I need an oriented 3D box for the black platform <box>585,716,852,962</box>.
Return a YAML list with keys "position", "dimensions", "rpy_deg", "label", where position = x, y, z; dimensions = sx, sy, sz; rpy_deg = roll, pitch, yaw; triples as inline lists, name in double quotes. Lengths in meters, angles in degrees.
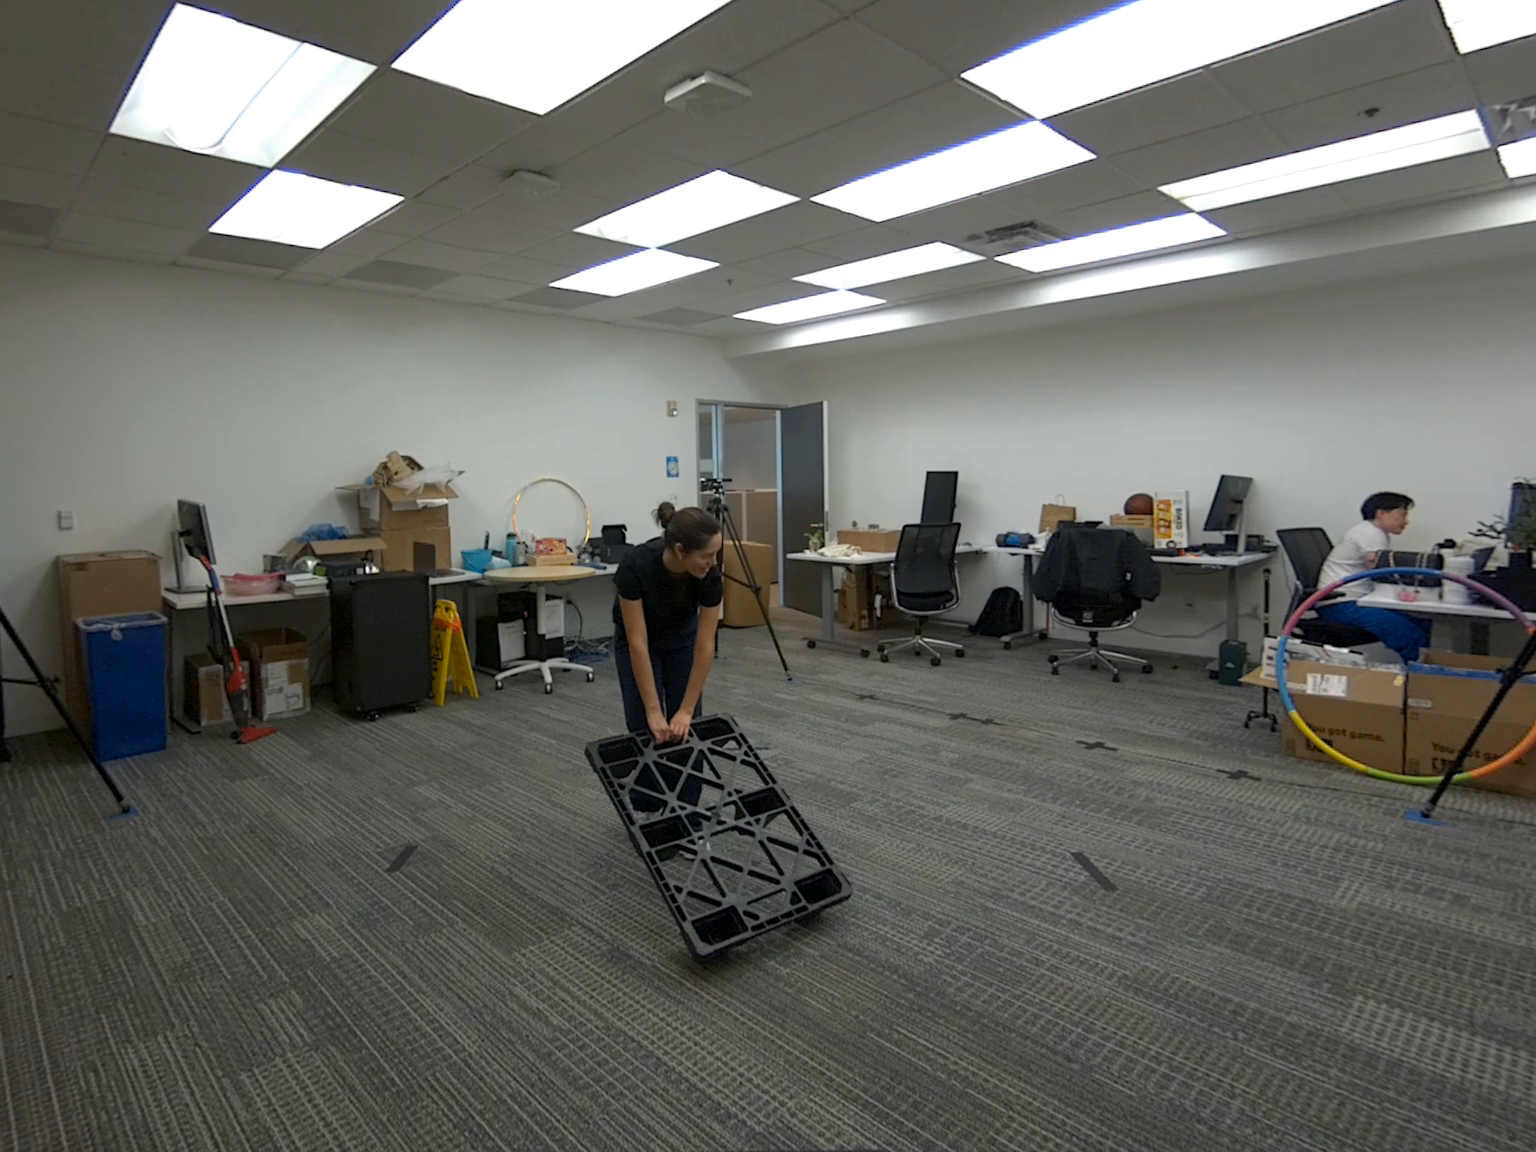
- position: [-0.187, 0.824, 2.823]
  dimensions: [0.589, 0.141, 0.837]
  rpy_deg: [-5, 39, -37]
  label: "black platform"
